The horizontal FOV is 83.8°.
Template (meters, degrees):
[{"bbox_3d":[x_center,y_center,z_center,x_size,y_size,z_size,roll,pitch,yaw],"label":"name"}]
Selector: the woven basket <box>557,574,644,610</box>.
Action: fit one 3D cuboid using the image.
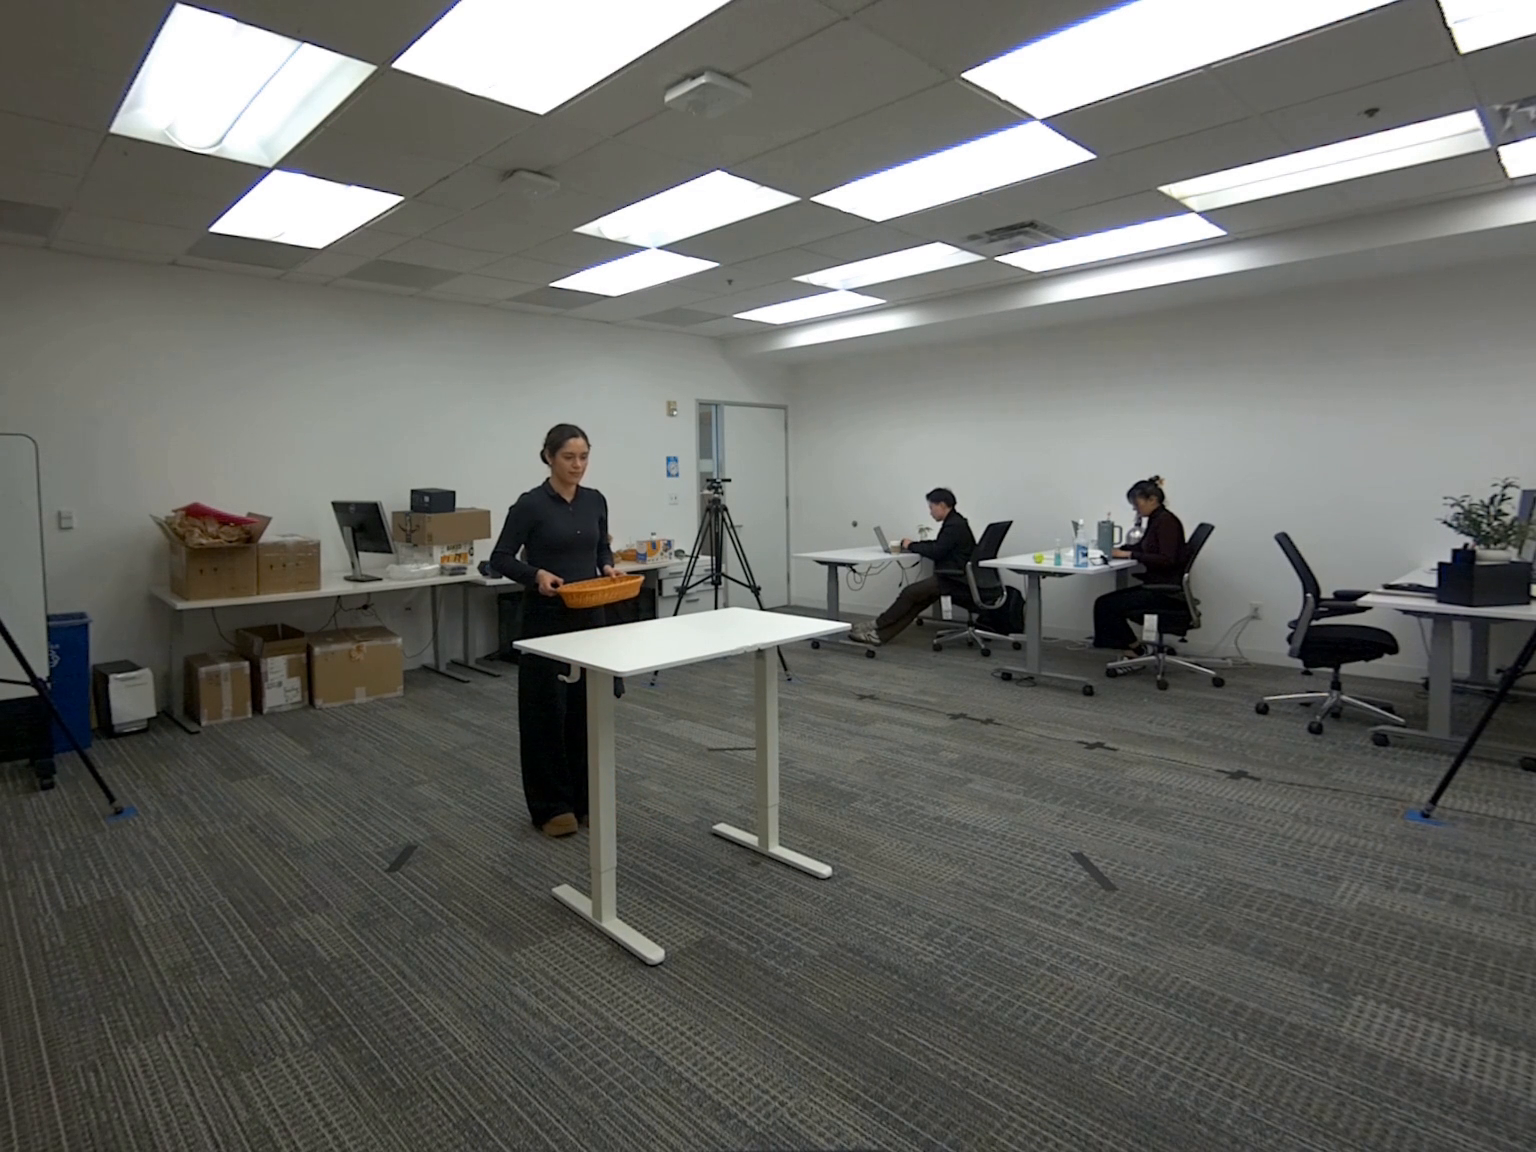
[{"bbox_3d":[-0.654,0.065,3.251,0.343,0.073,0.259,-12,10,-32],"label":"woven basket"}]
